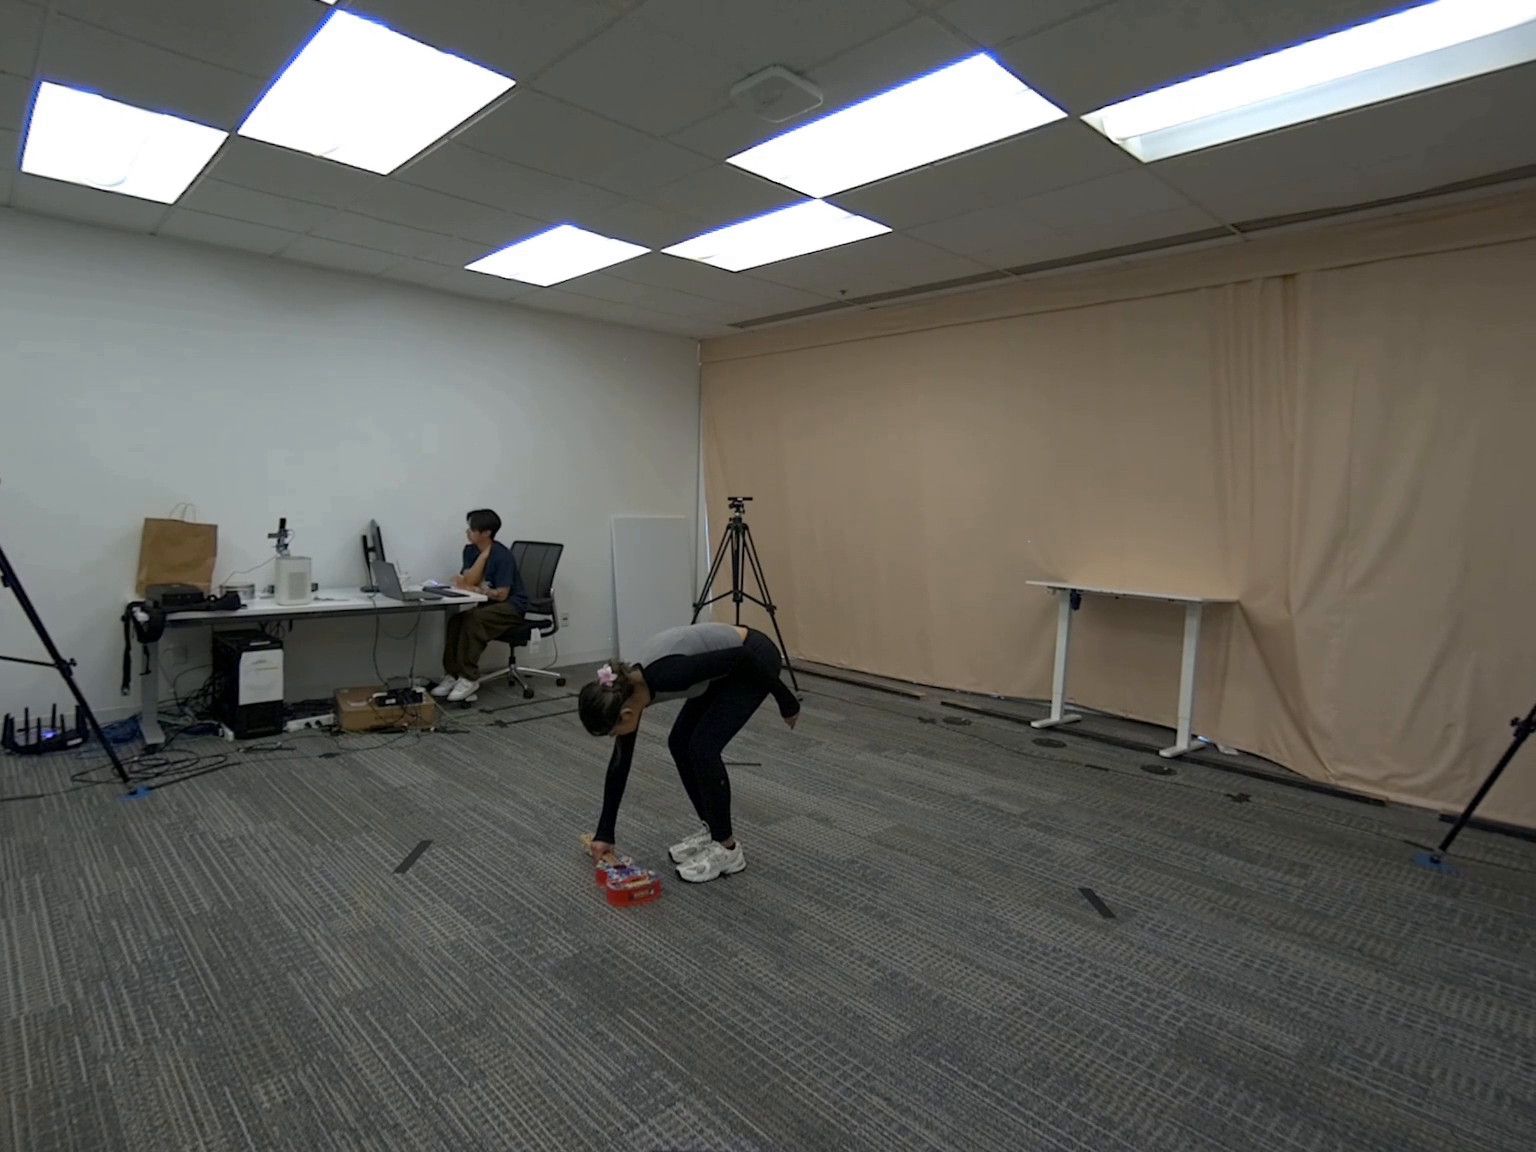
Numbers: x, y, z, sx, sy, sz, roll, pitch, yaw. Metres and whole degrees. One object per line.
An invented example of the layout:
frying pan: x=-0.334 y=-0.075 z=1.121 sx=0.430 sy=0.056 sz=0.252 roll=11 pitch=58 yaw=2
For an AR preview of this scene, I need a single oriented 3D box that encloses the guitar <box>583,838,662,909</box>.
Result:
guitar: x=-0.554 y=1.062 z=3.094 sx=0.190 sy=0.070 sz=0.508 roll=-1 pitch=7 yaw=-25
